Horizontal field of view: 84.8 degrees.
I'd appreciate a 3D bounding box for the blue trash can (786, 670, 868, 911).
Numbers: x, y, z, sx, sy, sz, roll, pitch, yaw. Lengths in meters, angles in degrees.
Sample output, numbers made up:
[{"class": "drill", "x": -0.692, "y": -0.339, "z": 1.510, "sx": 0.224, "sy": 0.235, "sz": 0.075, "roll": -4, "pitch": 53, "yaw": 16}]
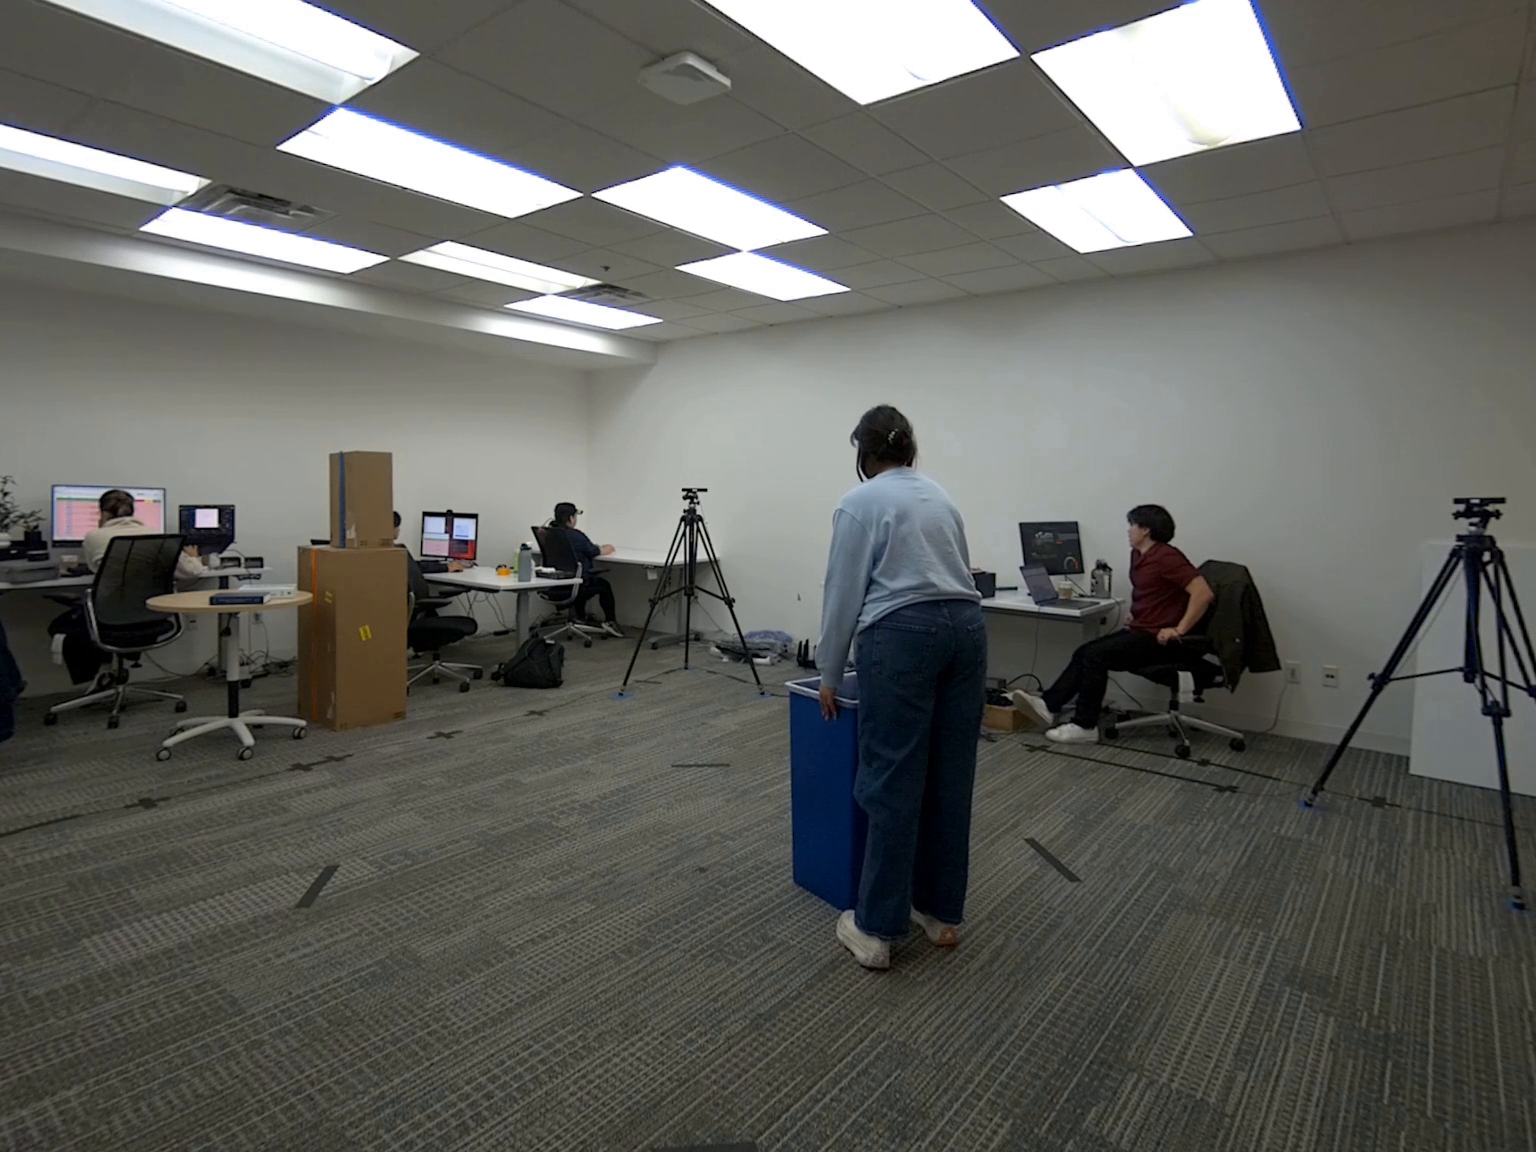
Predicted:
[{"class": "blue trash can", "x": 0.283, "y": 0.734, "z": 2.986, "sx": 0.367, "sy": 0.712, "sz": 0.386, "roll": -1, "pitch": 3, "yaw": -37}]
